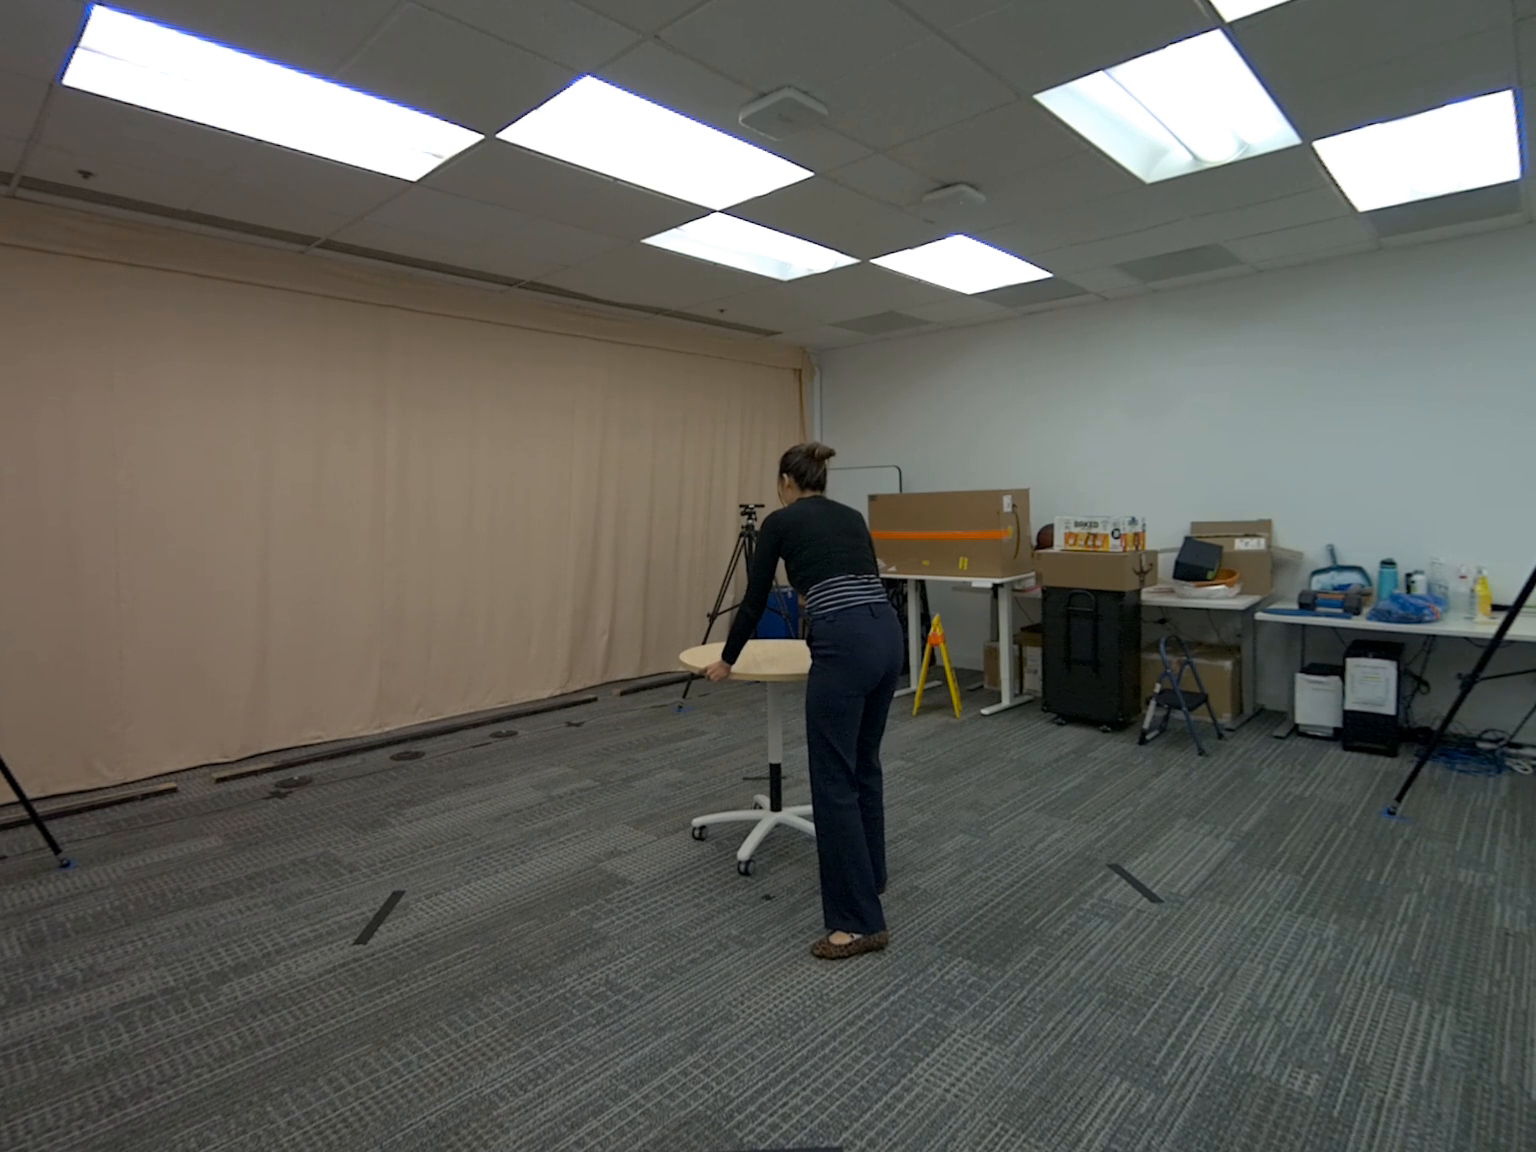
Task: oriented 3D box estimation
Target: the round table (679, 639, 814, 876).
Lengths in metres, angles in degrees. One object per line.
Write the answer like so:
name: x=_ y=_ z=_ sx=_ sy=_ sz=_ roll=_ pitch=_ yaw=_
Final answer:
round table: x=0.028 y=0.712 z=3.429 sx=0.763 sy=0.792 sz=0.766 roll=-1 pitch=4 yaw=-2
